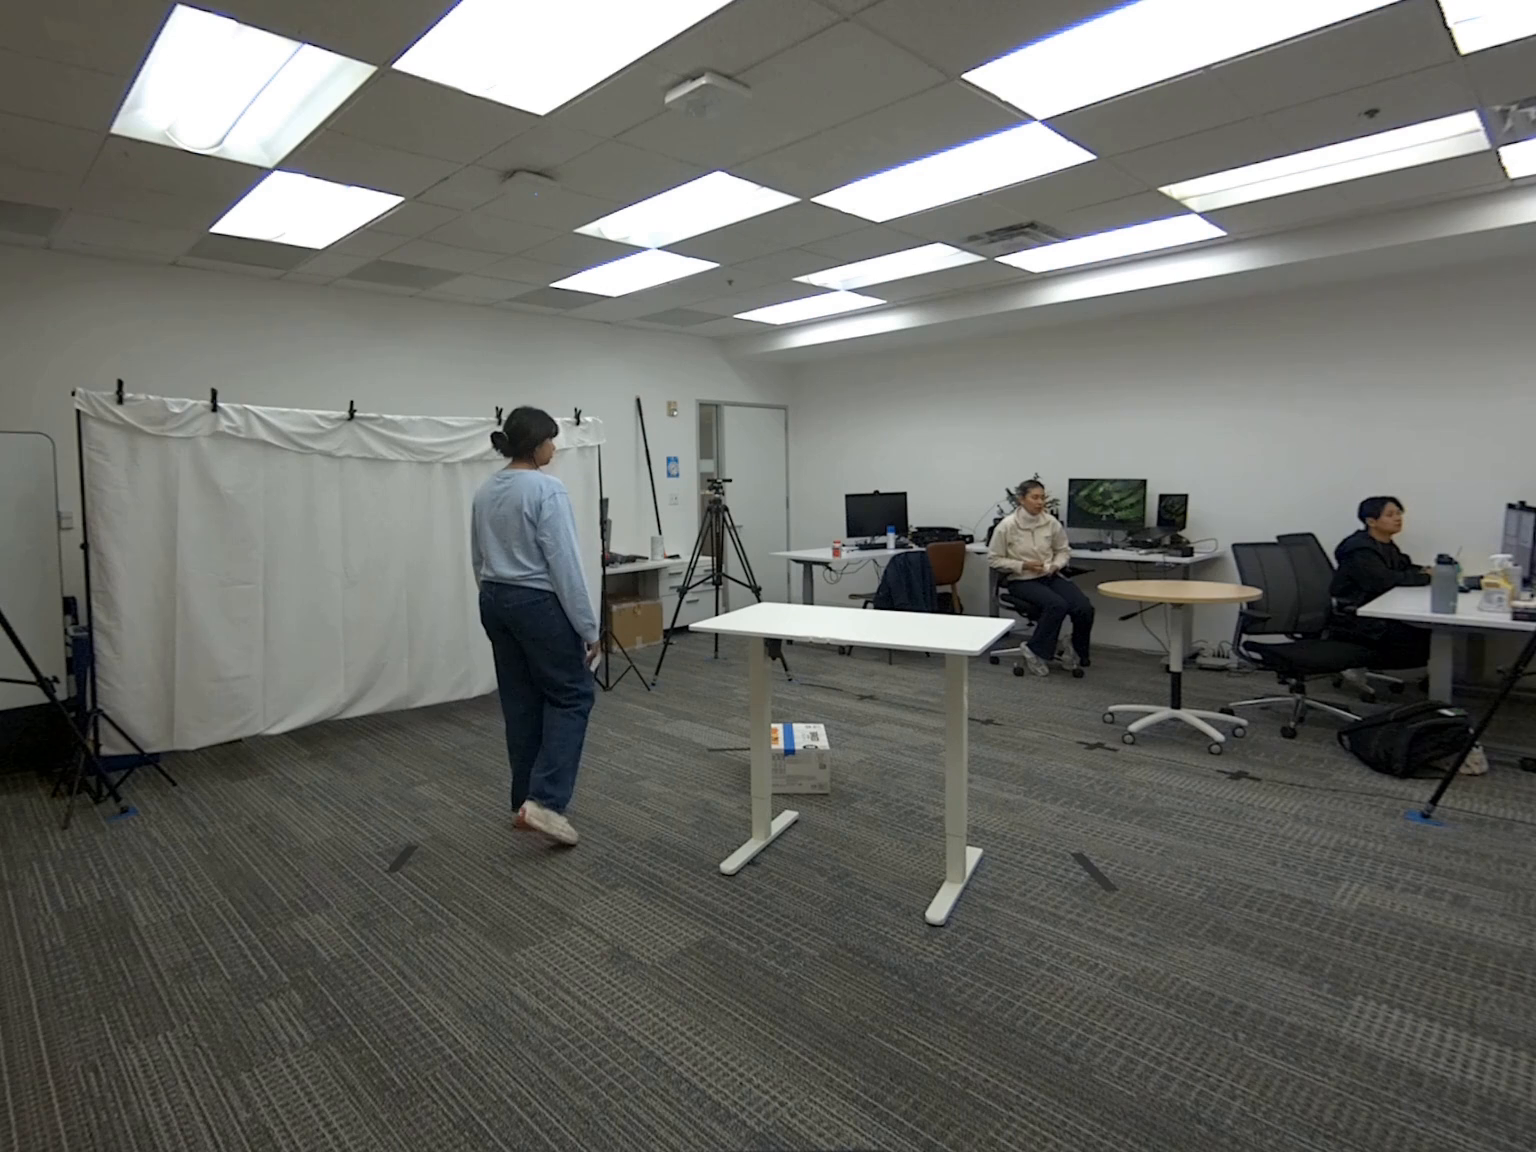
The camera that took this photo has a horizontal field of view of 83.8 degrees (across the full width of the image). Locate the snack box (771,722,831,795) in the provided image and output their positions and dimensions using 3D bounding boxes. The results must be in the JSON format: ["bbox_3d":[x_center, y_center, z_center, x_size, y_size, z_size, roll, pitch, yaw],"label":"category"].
[{"bbox_3d":[0.097,0.839,3.966,0.341,0.205,0.406,-1,5,1],"label":"snack box"}]
